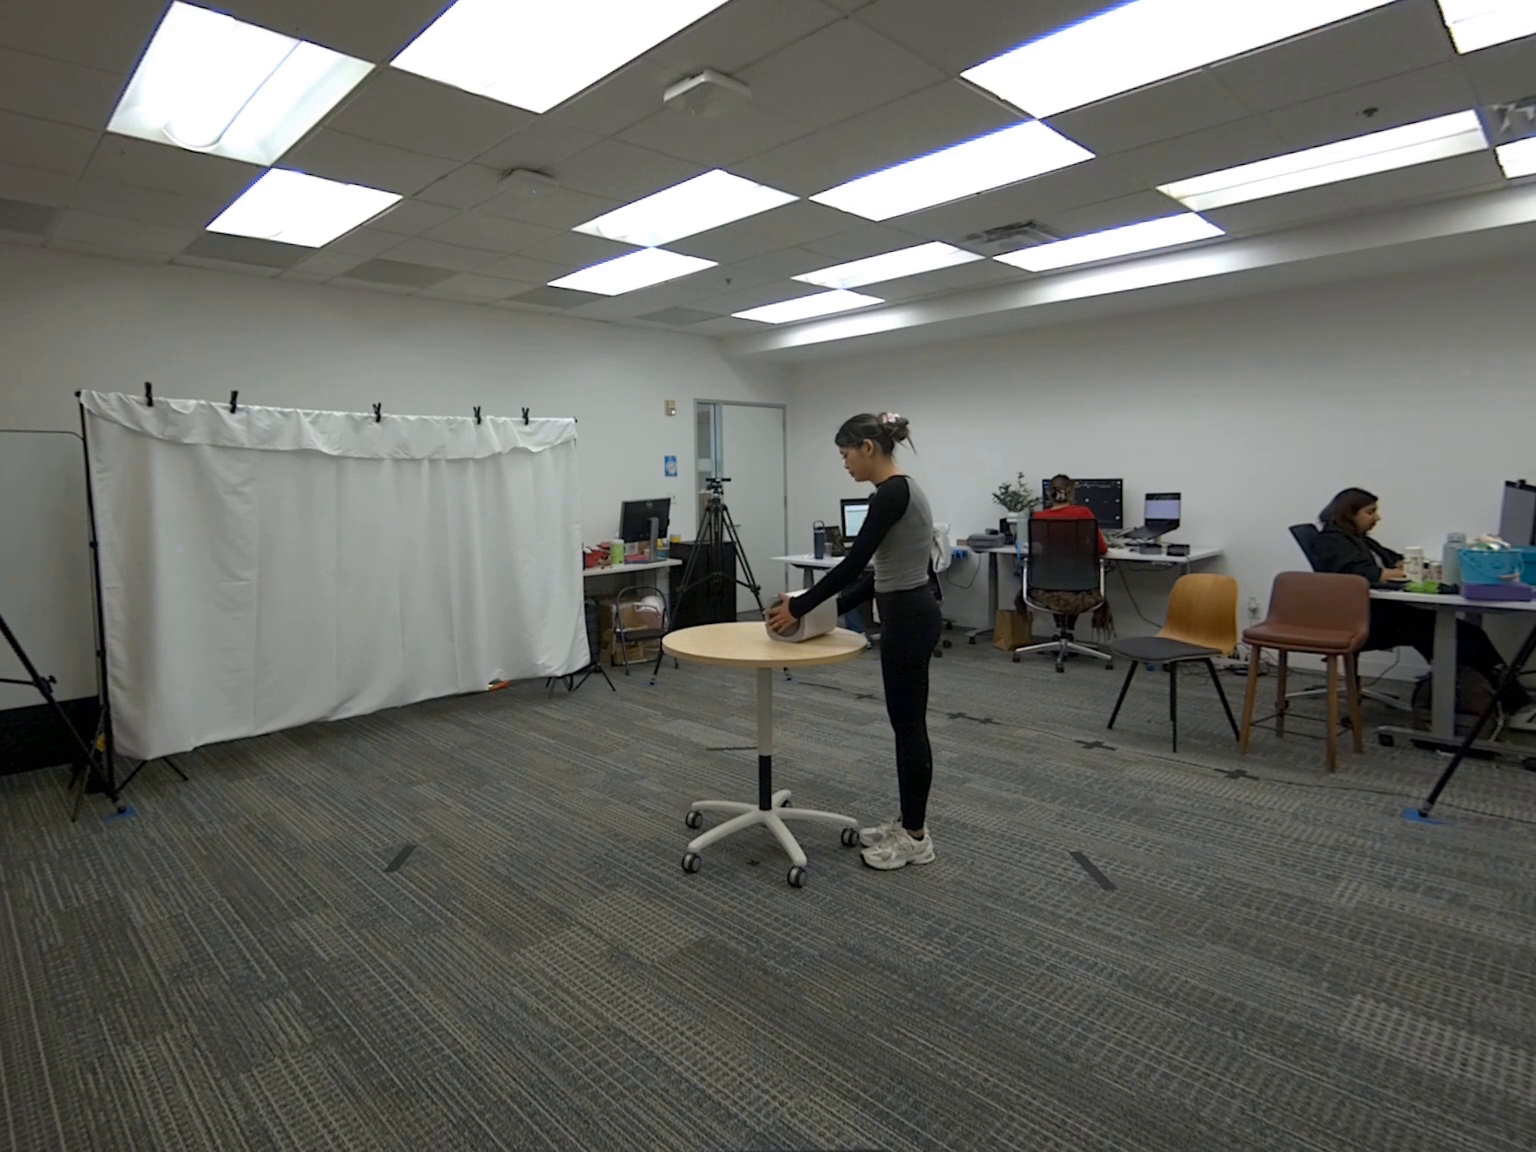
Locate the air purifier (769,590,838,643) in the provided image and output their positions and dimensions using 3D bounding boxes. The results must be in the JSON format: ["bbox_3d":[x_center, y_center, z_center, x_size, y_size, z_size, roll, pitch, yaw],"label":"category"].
[{"bbox_3d":[0.137,0.142,3.247,0.176,0.171,0.259,0,5,34],"label":"air purifier"}]
